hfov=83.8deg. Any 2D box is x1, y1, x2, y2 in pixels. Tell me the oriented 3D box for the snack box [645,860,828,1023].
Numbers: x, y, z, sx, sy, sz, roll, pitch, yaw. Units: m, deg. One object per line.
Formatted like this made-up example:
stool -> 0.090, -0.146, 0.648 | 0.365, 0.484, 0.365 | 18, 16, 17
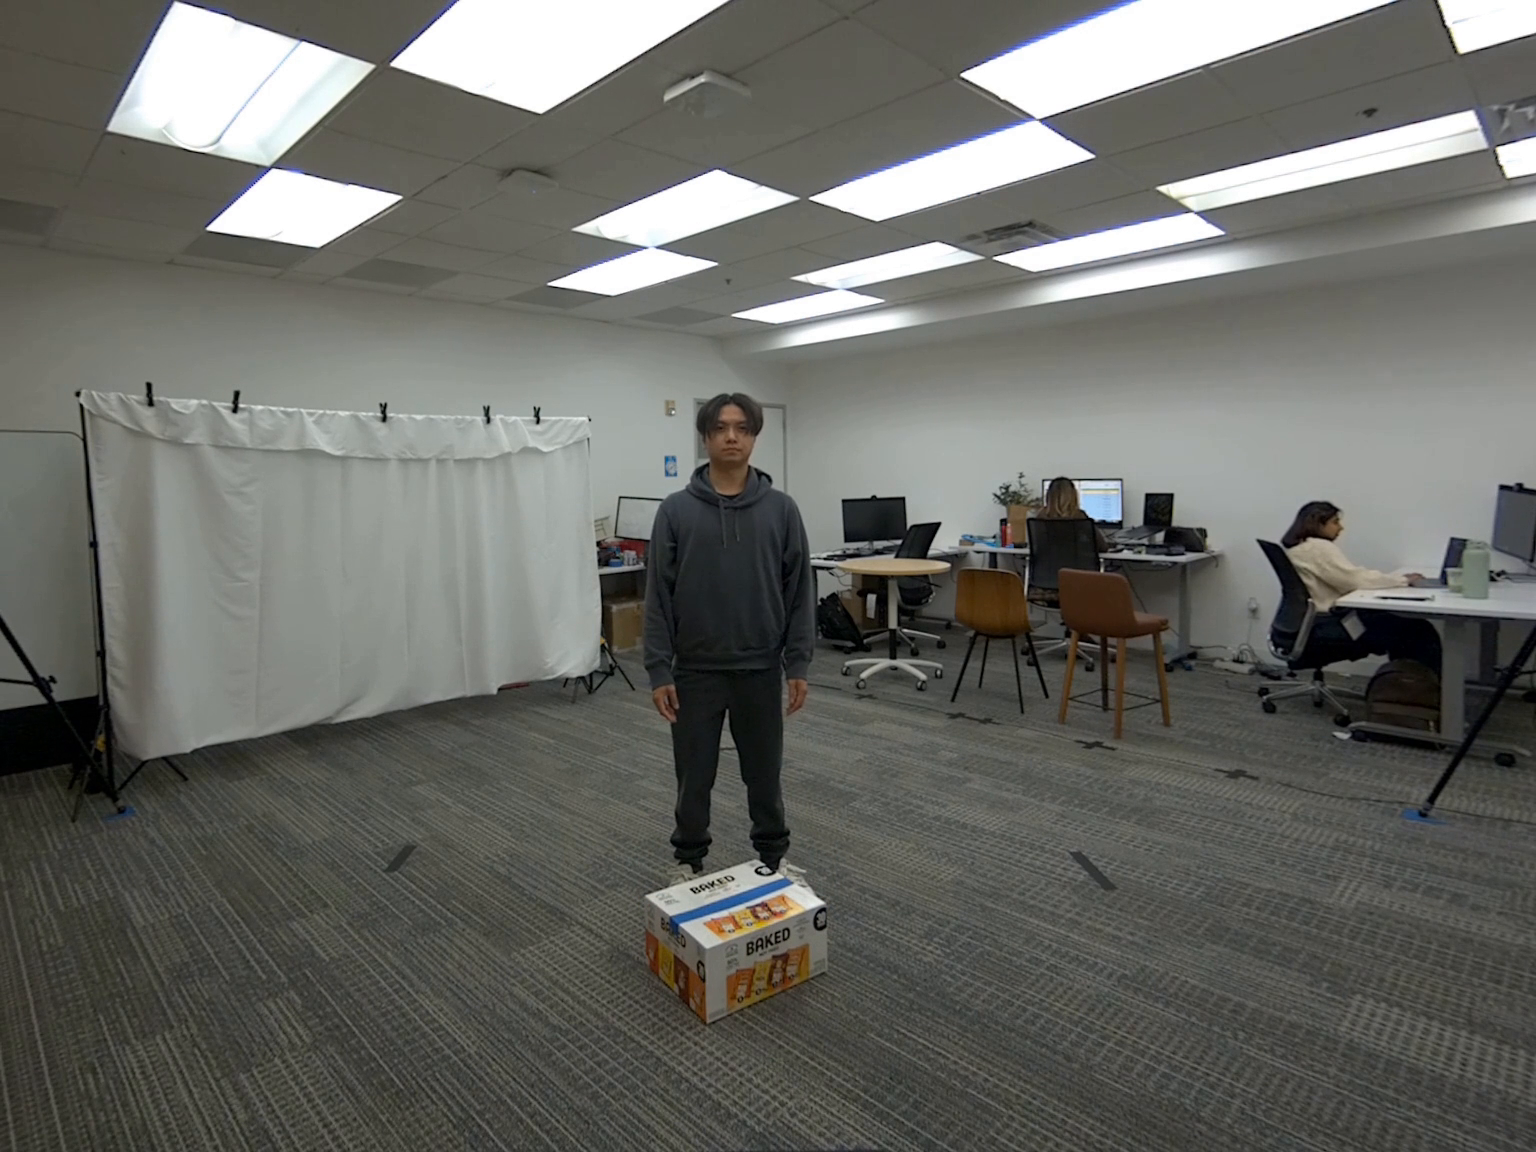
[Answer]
snack box -> -0.093, 1.018, 2.432 | 0.395, 0.205, 0.350 | -5, 7, -35
